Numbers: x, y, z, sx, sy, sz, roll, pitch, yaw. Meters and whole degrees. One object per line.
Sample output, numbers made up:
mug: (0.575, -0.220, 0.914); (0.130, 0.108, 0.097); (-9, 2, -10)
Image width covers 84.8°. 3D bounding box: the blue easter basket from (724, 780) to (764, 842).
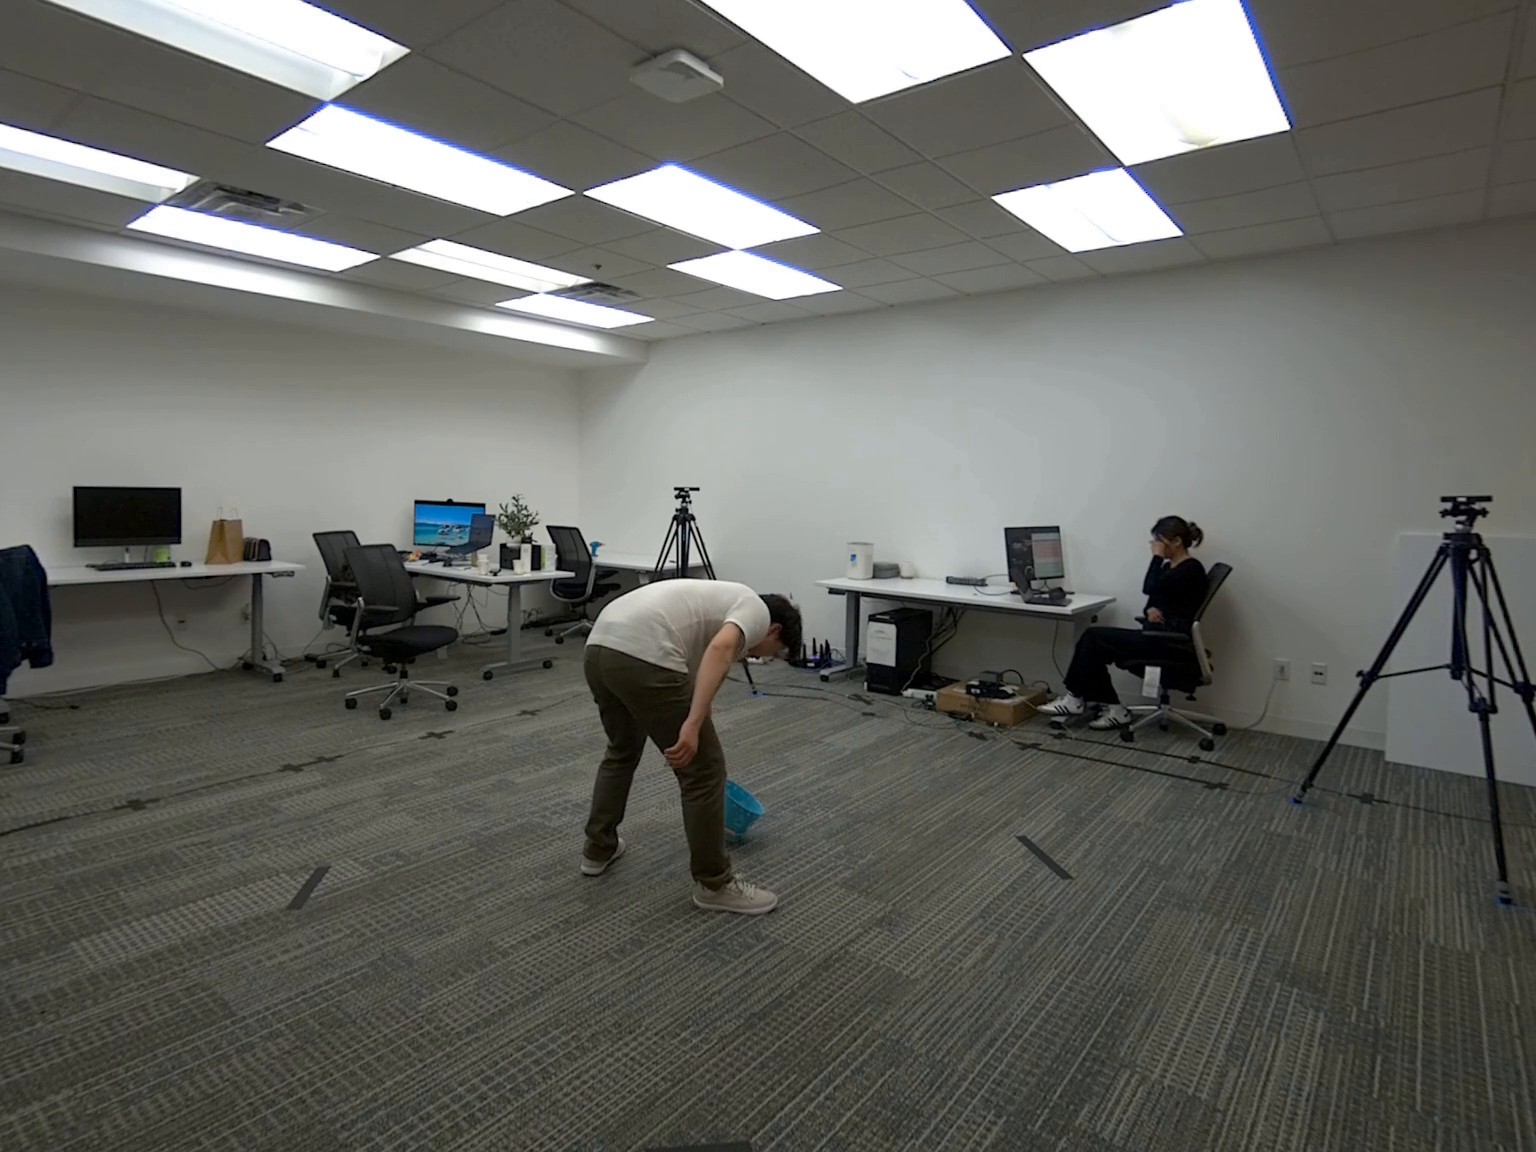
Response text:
blue easter basket: (-0.161, 0.924, 3.371); (0.243, 0.156, 0.244); (35, 2, -3)
